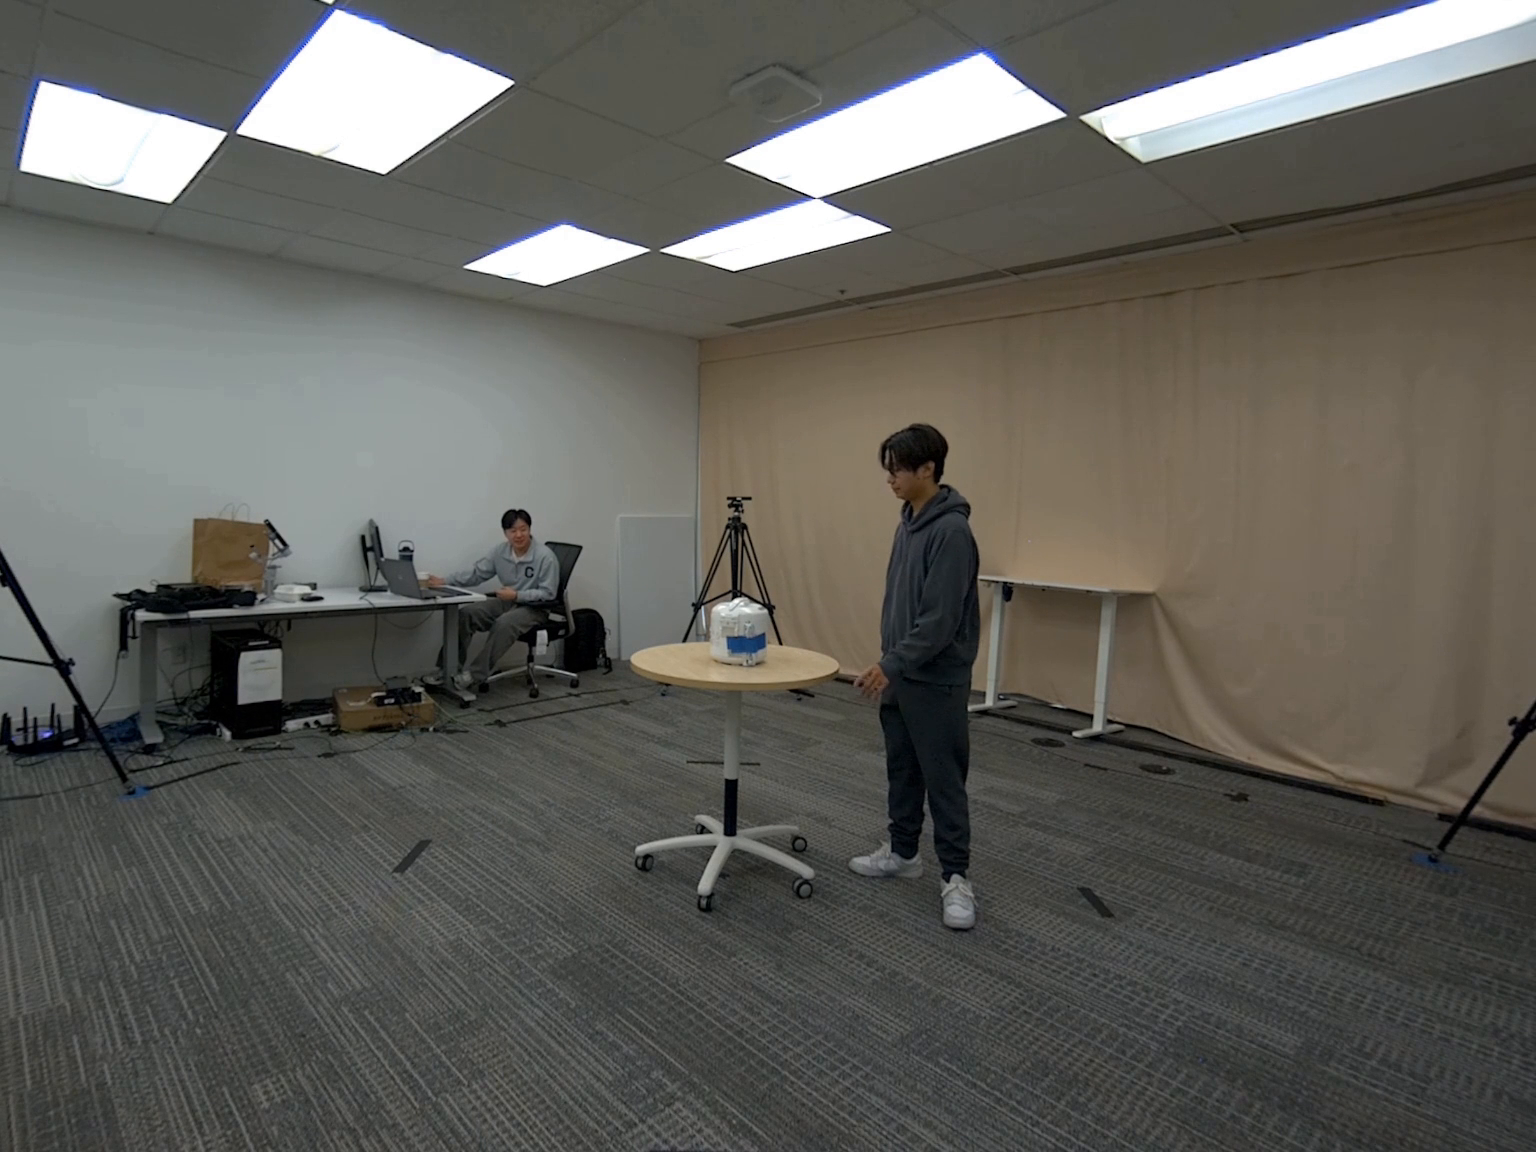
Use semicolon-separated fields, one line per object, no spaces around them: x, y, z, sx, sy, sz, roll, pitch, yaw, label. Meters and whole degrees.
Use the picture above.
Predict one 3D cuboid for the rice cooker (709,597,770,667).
-0.108;0.194;3.072;0.221;0.232;0.217;4;5;22;rice cooker
